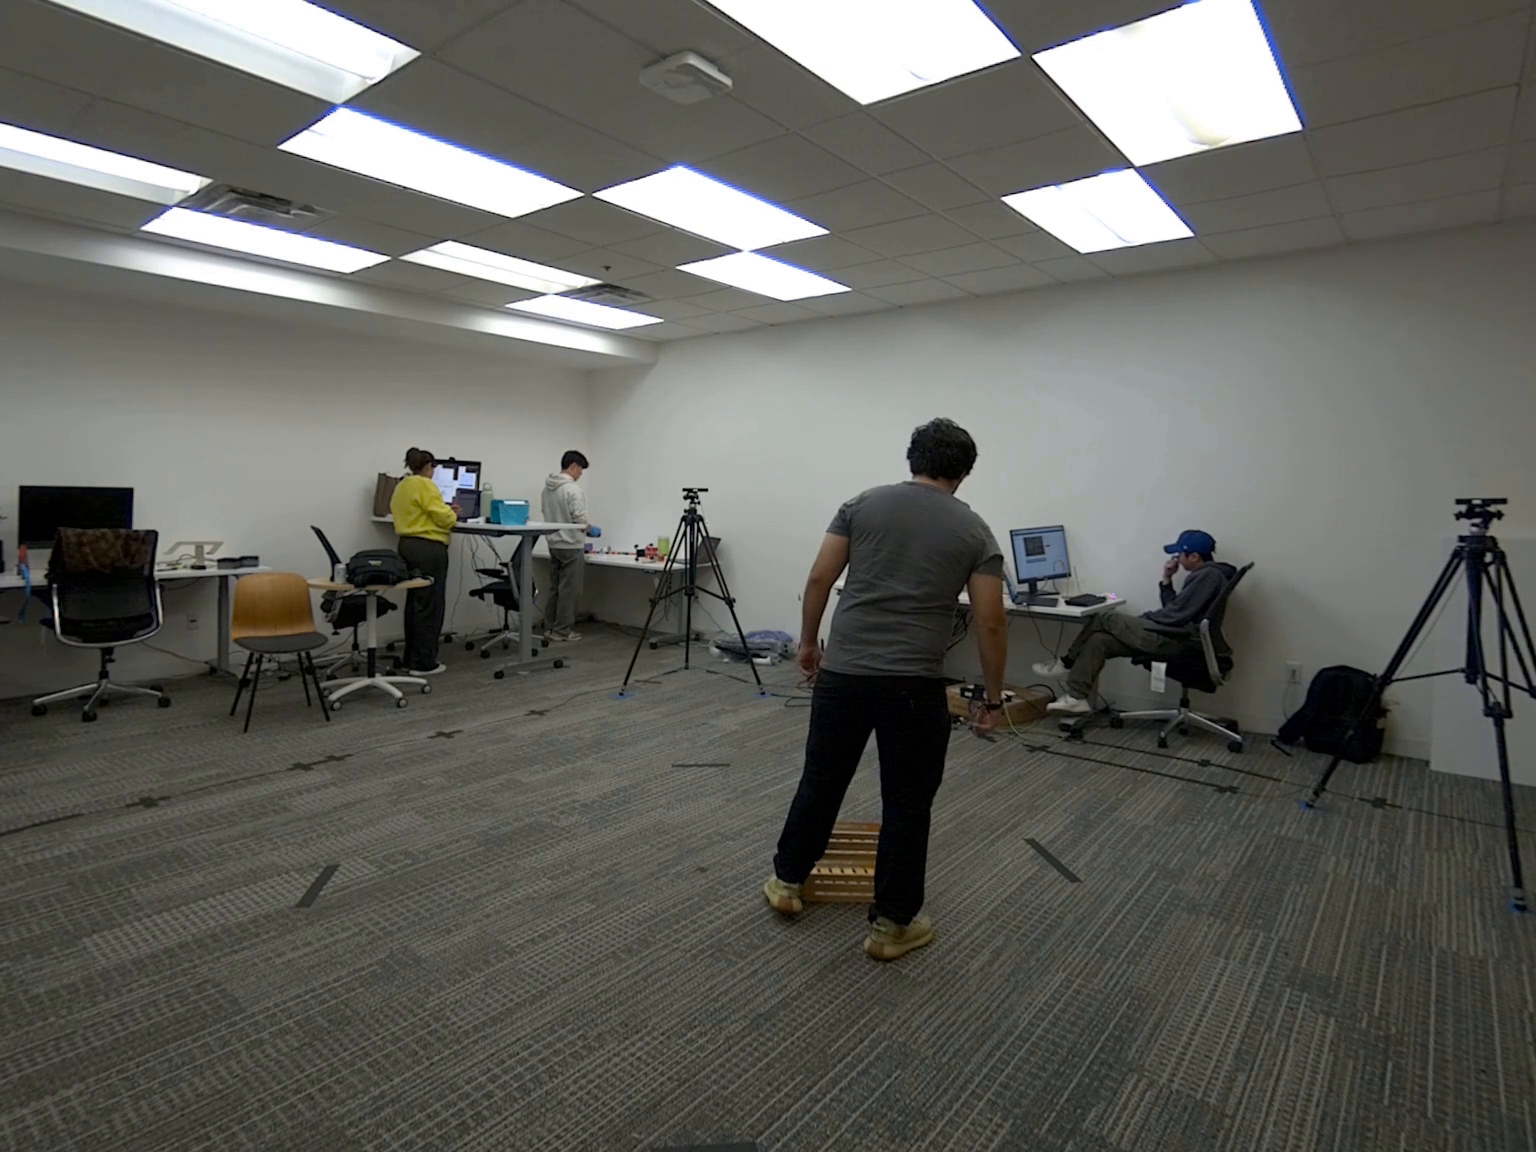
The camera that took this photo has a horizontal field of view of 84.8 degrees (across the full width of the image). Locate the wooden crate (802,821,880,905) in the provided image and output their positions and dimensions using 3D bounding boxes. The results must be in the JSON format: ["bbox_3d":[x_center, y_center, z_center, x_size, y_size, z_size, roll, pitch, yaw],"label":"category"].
[{"bbox_3d":[0.256,0.969,2.984,0.323,0.272,0.304,2,4,-4],"label":"wooden crate"}]
